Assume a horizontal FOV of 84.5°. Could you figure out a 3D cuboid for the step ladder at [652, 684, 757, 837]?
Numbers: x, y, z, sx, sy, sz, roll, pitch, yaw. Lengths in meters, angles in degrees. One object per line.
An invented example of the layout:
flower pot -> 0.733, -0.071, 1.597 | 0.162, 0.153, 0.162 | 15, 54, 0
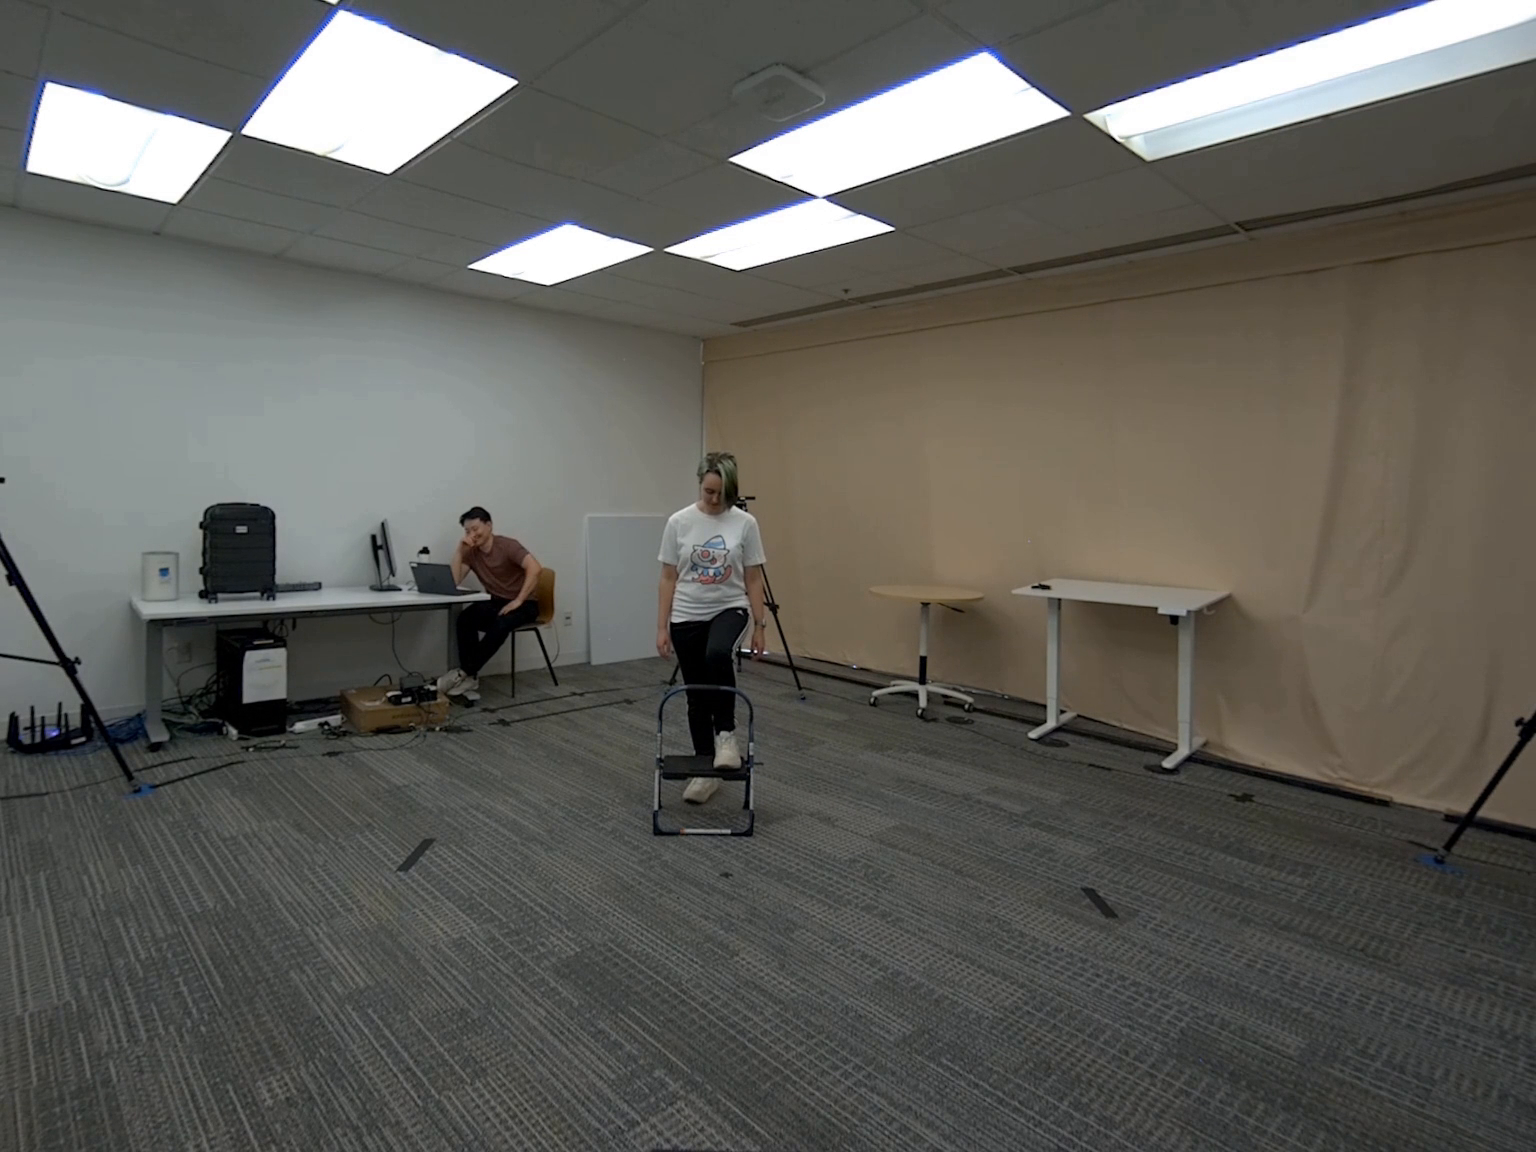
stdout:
step ladder -> -0.285, 0.760, 3.615 | 0.429, 0.605, 0.351 | 1, 3, -4
